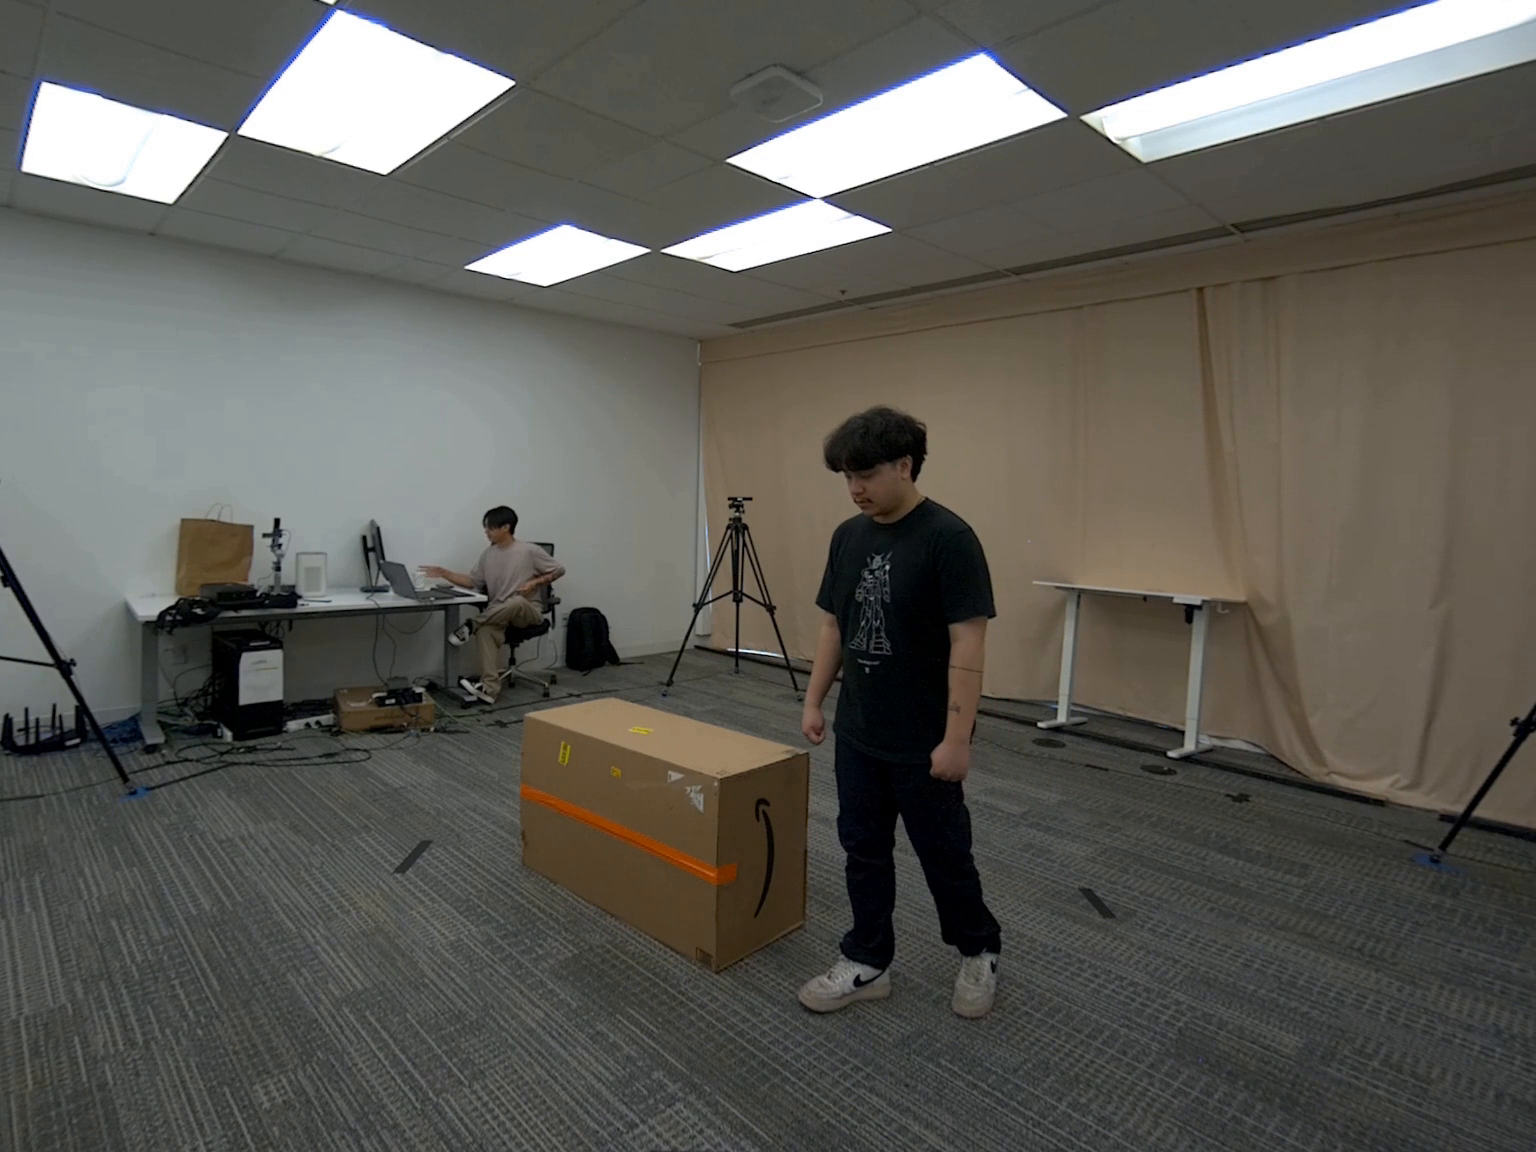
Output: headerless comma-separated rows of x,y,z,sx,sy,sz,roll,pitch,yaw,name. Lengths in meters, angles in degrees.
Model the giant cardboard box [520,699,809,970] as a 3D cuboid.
-0.403,0.830,2.949,1.053,0.582,0.437,5,6,41,giant cardboard box
